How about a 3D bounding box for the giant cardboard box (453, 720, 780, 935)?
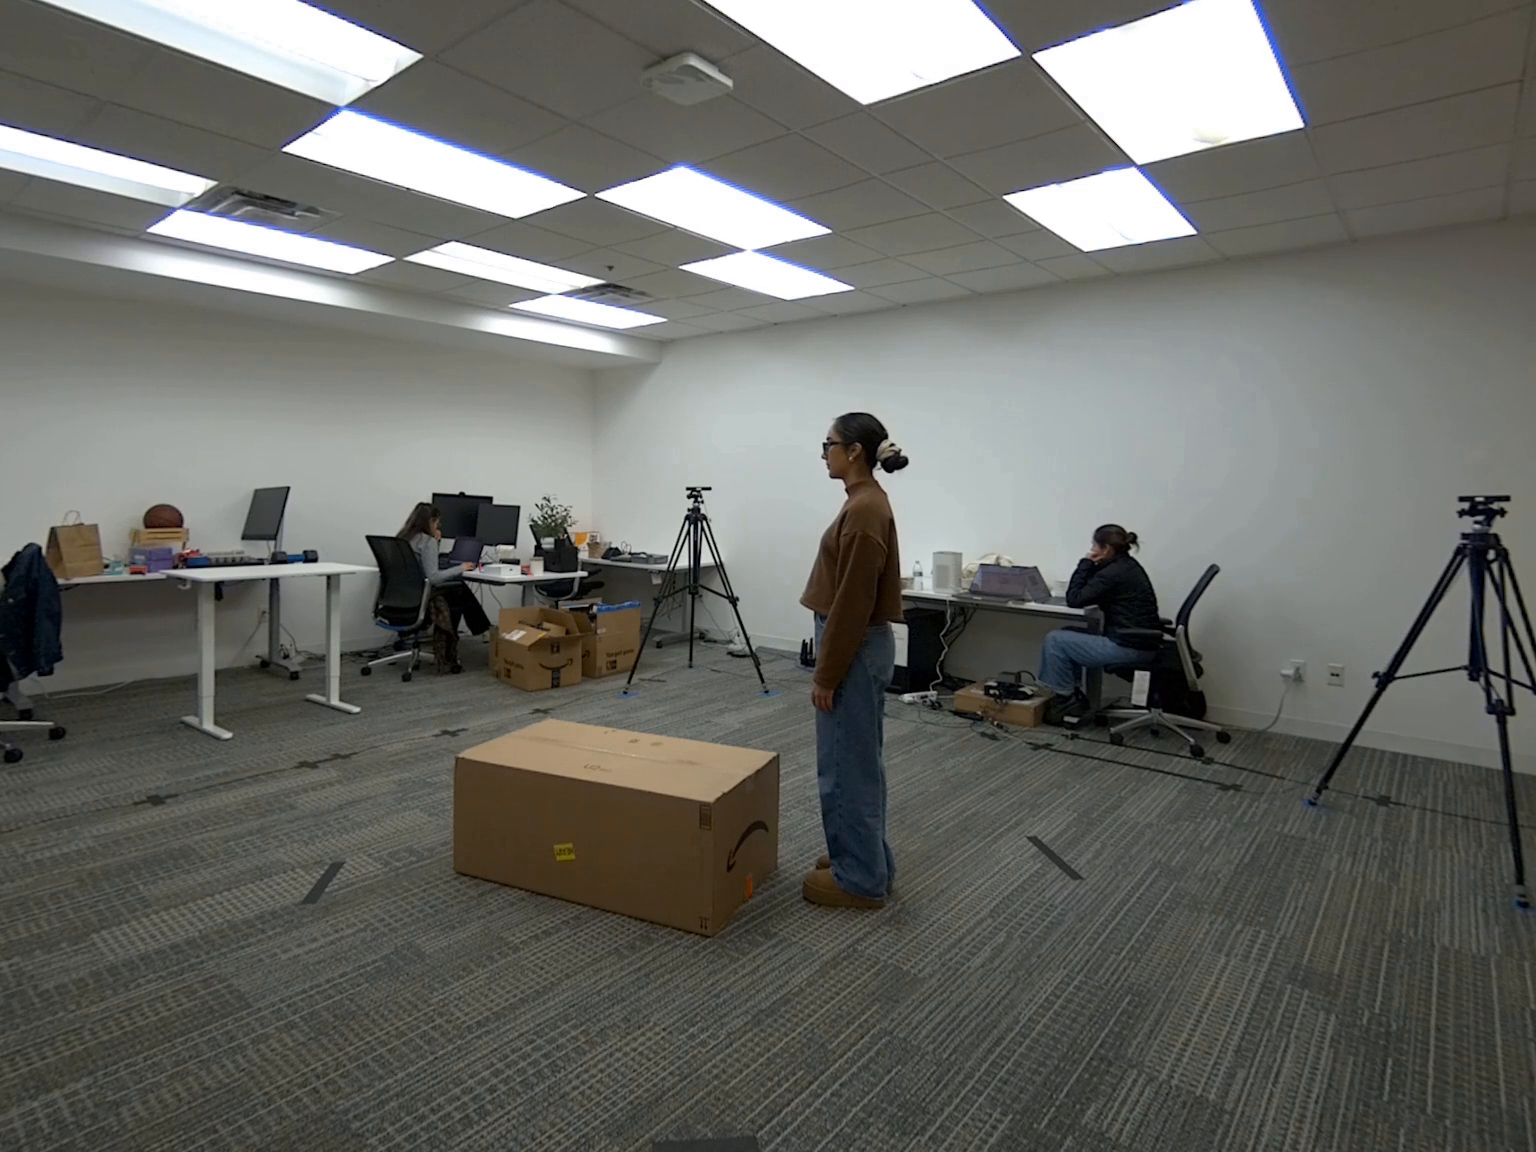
[{"bbox_3d":[-0.552,0.851,3.074,1.052,0.445,0.572,3,6,23],"label":"giant cardboard box"}]
